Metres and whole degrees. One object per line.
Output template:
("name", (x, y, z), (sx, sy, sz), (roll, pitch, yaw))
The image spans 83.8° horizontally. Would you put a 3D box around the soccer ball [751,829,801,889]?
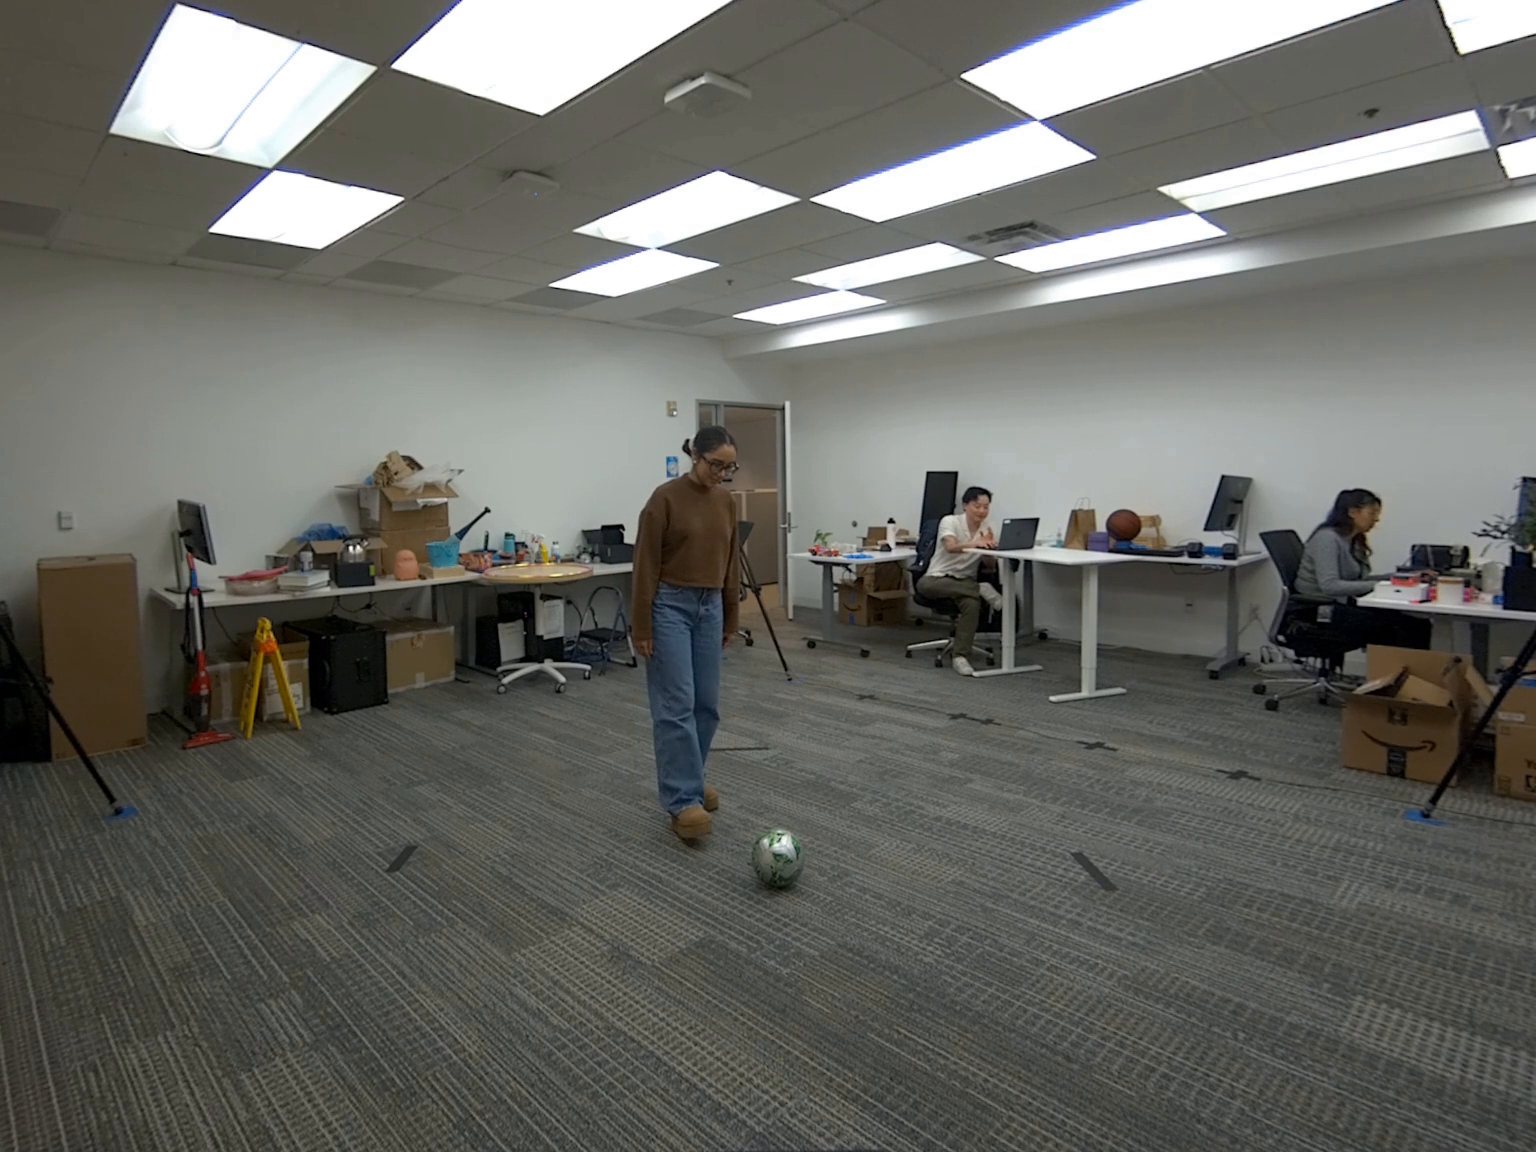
("soccer ball", (0.039, 0.965, 2.936), (0.187, 0.187, 0.188), (-1, 5, -2))
